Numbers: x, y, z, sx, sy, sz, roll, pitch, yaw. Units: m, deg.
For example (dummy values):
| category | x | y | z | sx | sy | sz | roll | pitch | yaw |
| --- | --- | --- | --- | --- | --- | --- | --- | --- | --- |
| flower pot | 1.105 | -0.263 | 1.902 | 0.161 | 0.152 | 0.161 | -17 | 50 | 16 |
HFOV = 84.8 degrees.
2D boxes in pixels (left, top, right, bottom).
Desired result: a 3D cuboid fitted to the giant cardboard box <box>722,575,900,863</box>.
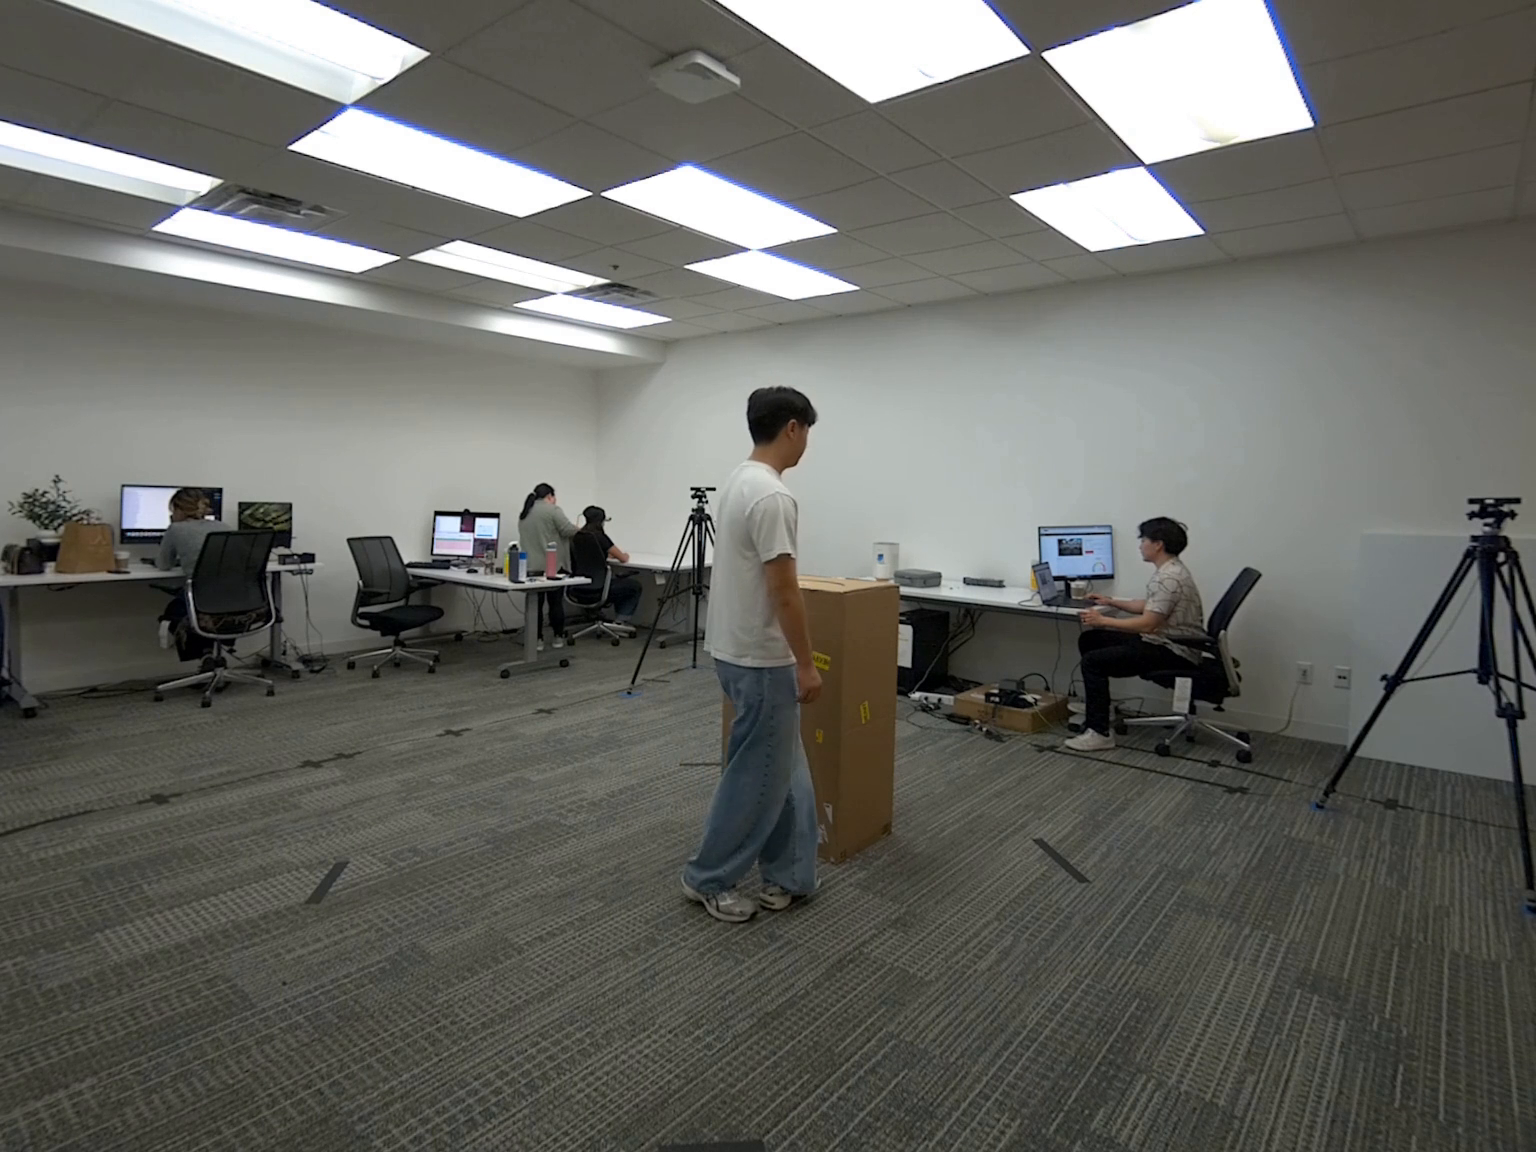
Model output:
| category | x | y | z | sx | sy | sz | roll | pitch | yaw |
| --- | --- | --- | --- | --- | --- | --- | --- | --- | --- |
| giant cardboard box | 0.158 | 0.528 | 3.480 | 0.597 | 1.023 | 0.413 | 4 | 4 | 39 |
